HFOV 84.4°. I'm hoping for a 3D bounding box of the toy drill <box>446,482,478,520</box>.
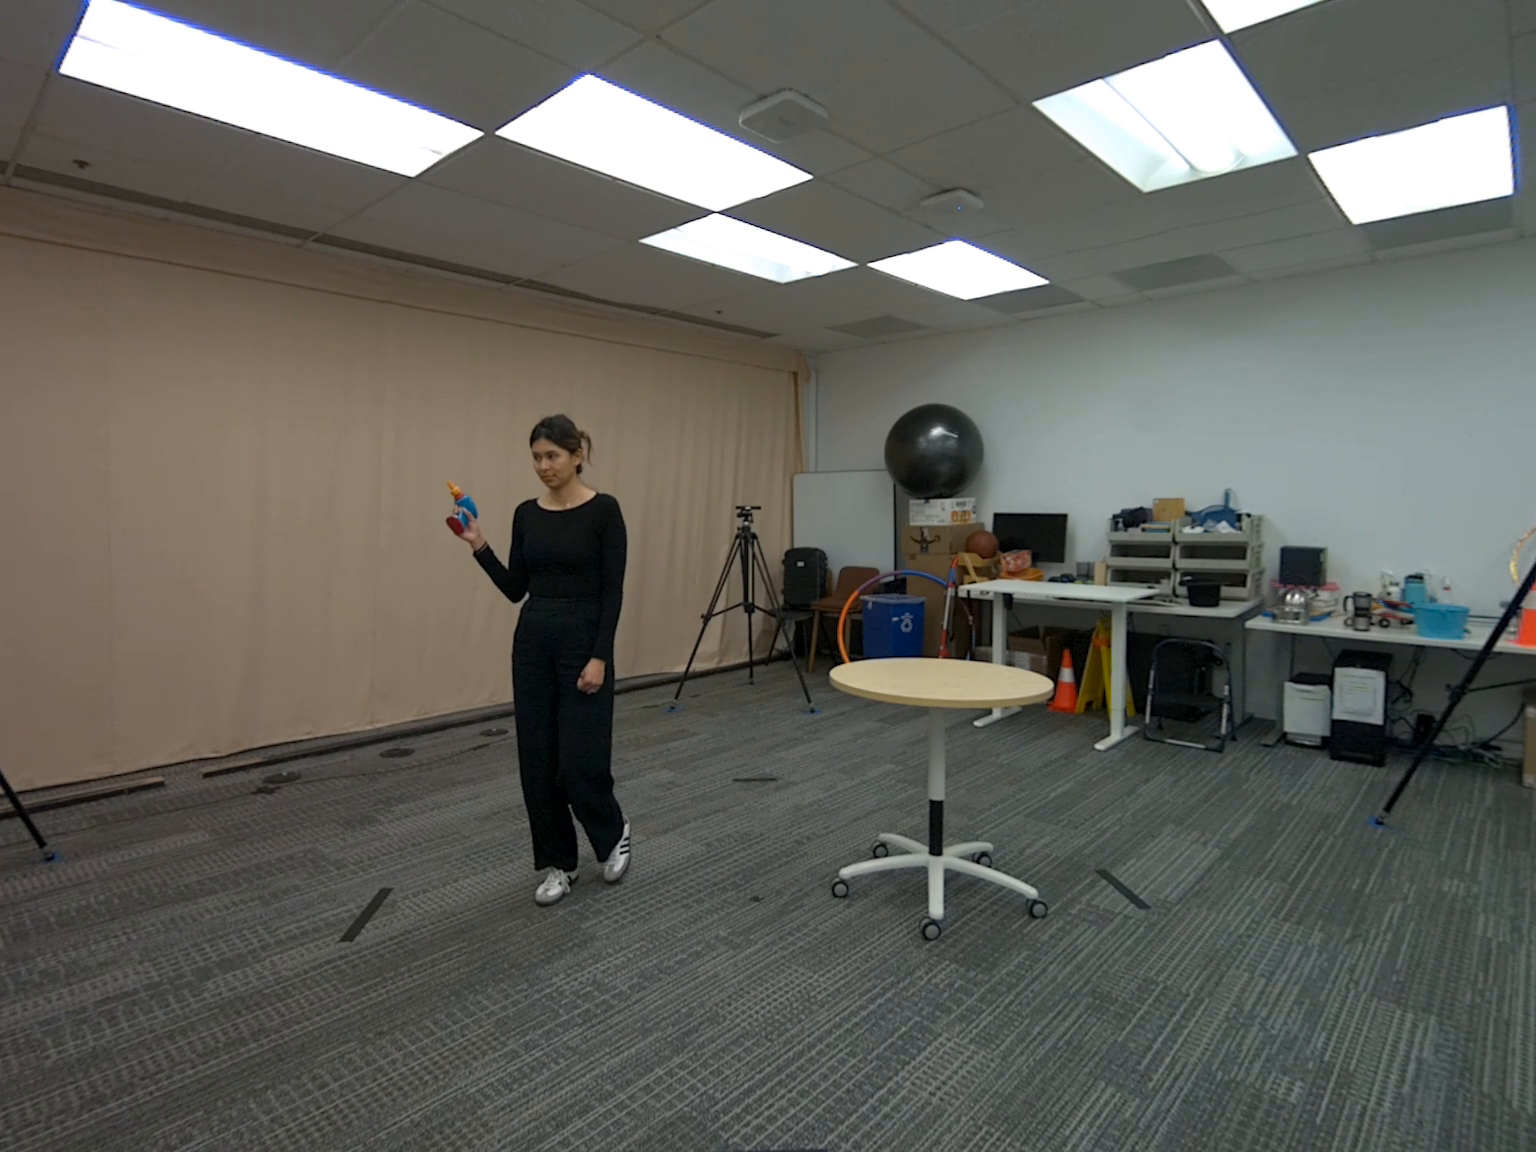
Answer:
[{"bbox_3d":[-1.094,-0.248,2.961,0.062,0.166,0.147,-17,28,19],"label":"toy drill"}]
